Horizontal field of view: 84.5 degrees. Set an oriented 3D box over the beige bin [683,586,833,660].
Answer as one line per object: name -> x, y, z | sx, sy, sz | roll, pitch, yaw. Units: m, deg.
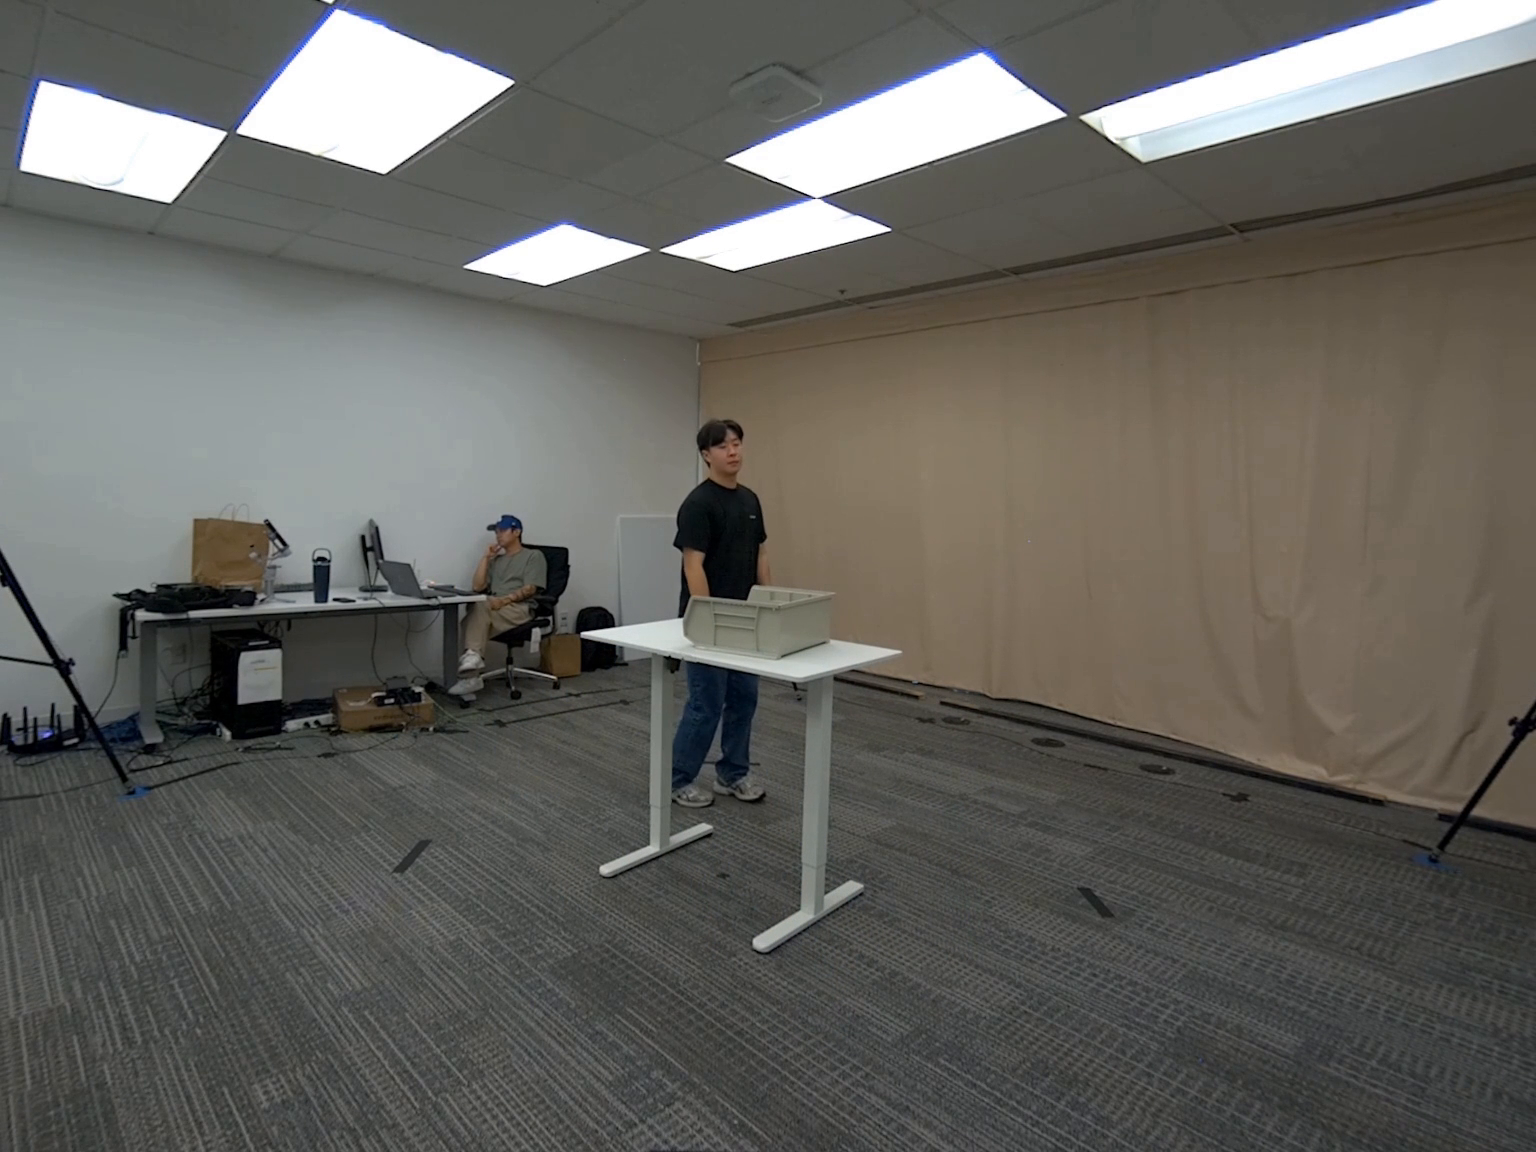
beige bin -> -0.024, 0.159, 2.927 | 0.385, 0.188, 0.415 | 6, 7, 27
